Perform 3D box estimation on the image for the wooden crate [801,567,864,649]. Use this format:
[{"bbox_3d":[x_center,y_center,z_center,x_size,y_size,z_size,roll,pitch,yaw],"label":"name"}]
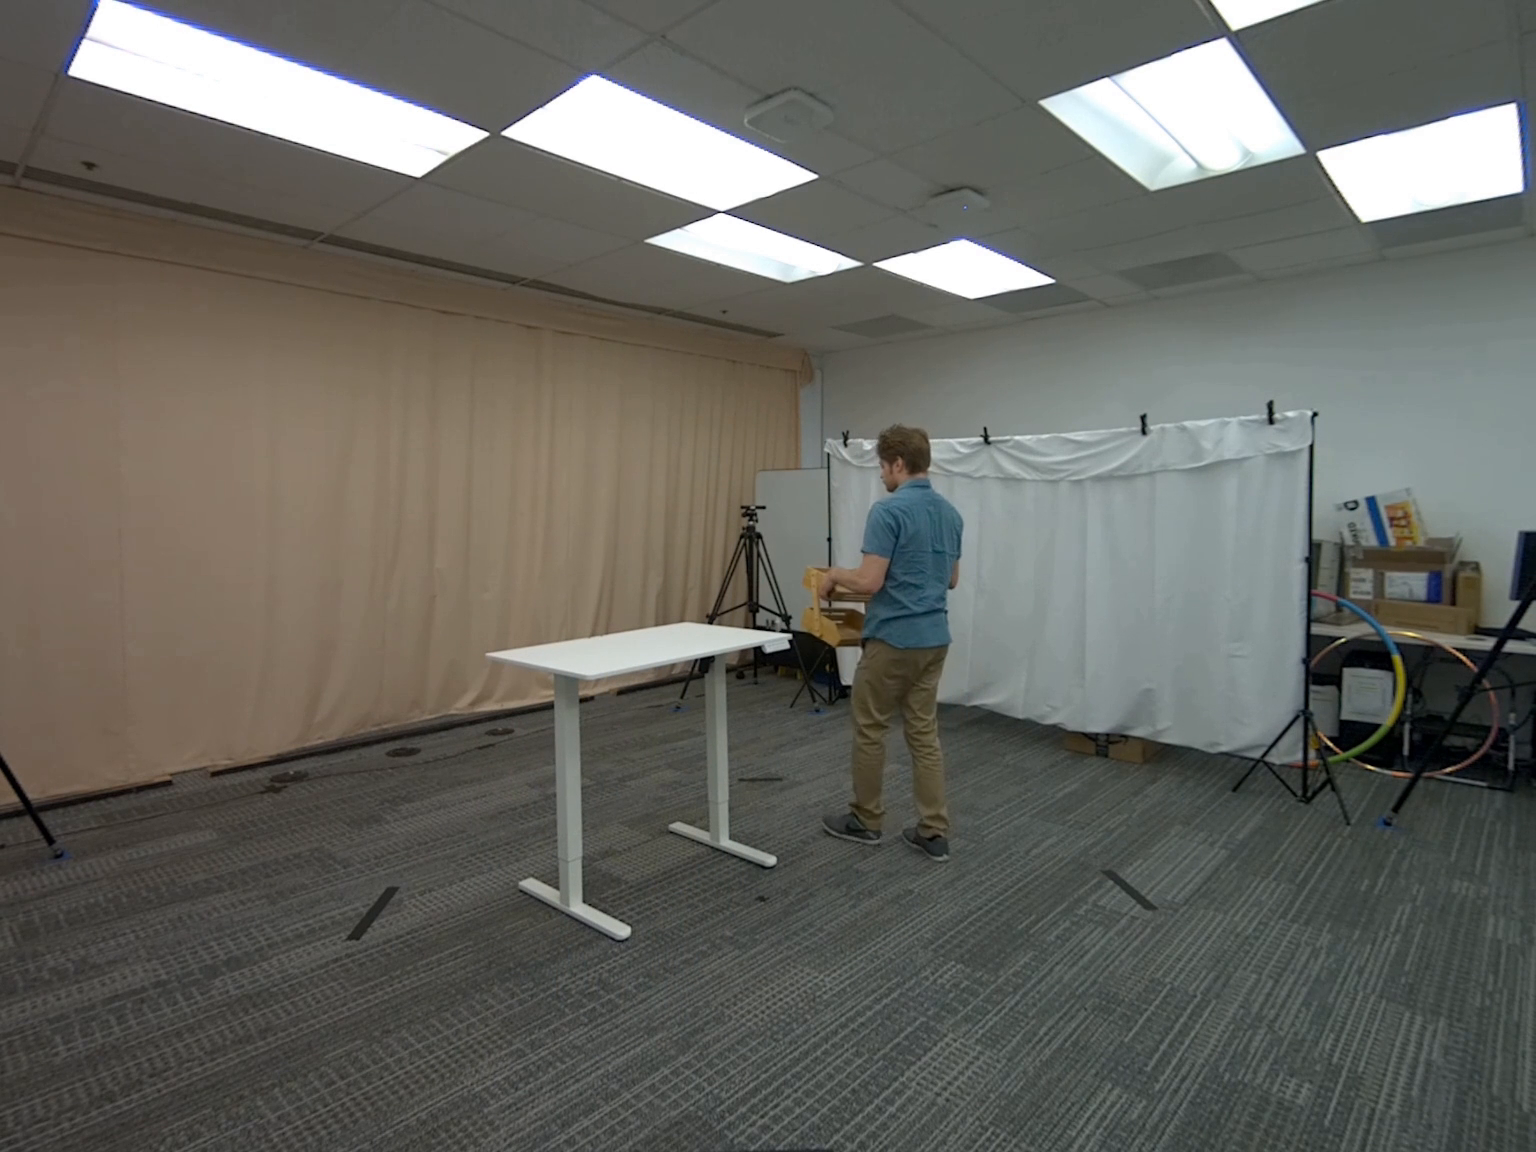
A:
[{"bbox_3d":[0.344,0.130,3.635,0.314,0.272,0.313,4,15,-39],"label":"wooden crate"}]
